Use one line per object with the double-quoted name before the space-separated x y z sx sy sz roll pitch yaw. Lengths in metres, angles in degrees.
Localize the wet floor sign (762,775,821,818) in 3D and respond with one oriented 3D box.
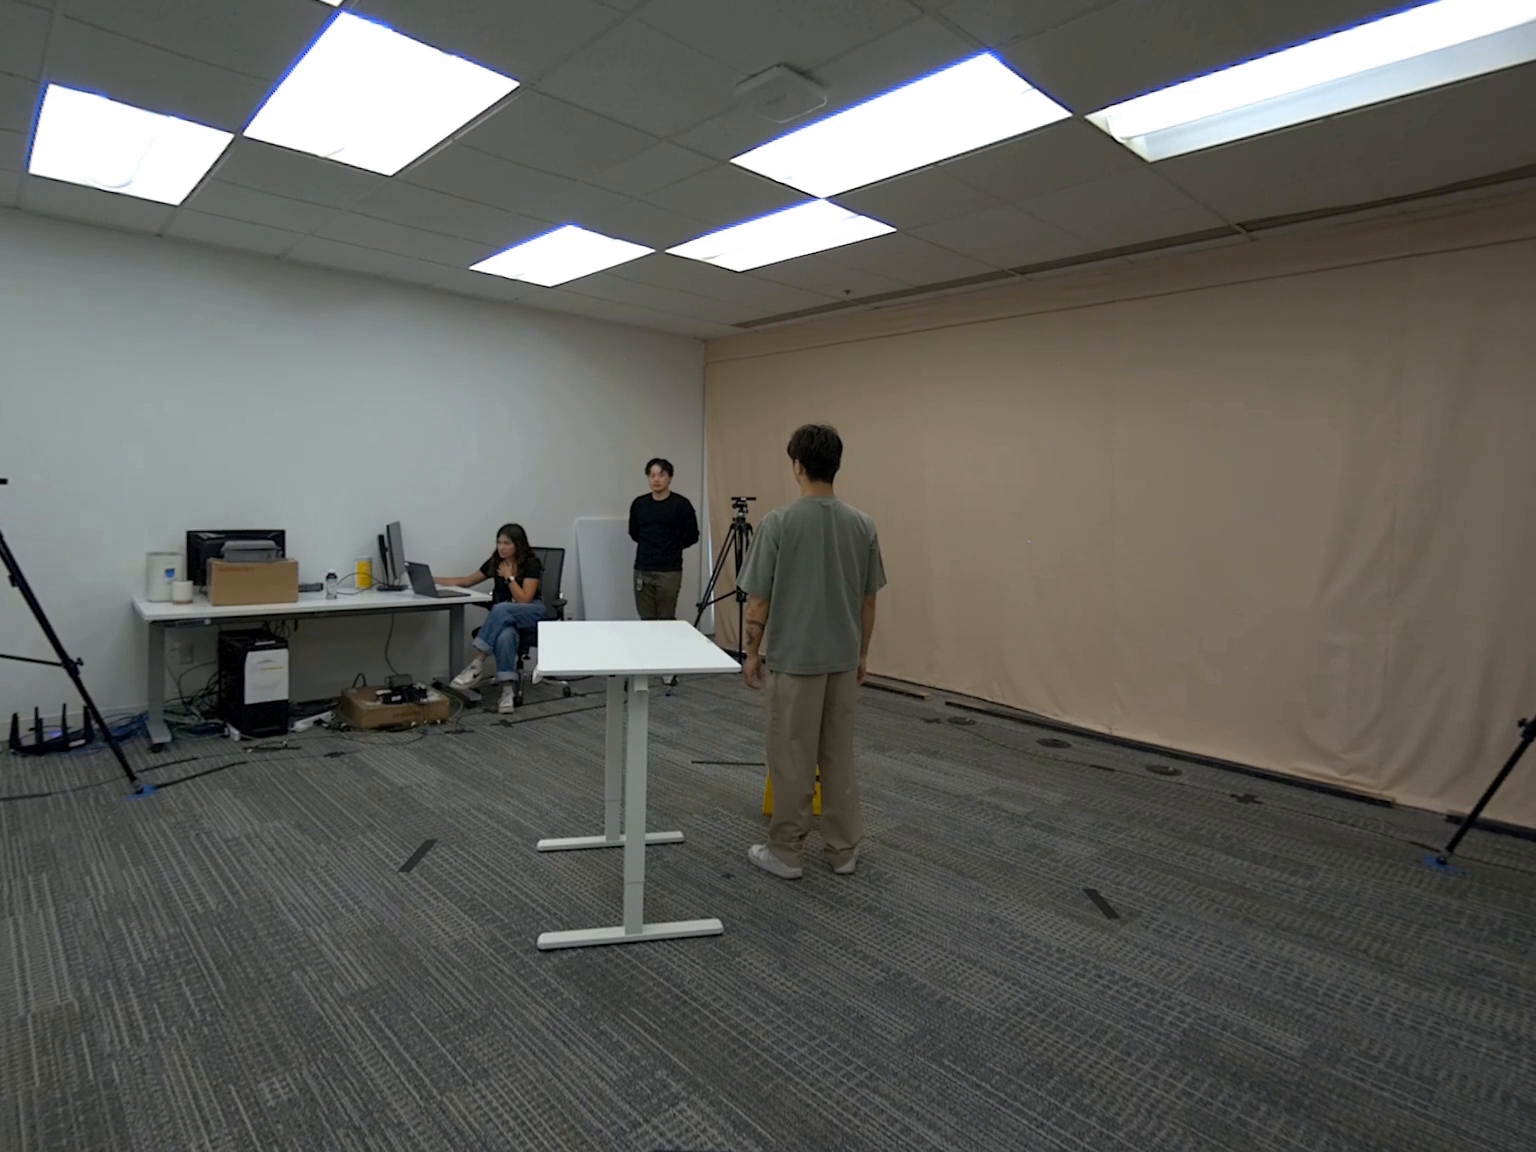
"wet floor sign" 0.146 0.743 3.634 0.279 0.645 0.293 2 1 -13
